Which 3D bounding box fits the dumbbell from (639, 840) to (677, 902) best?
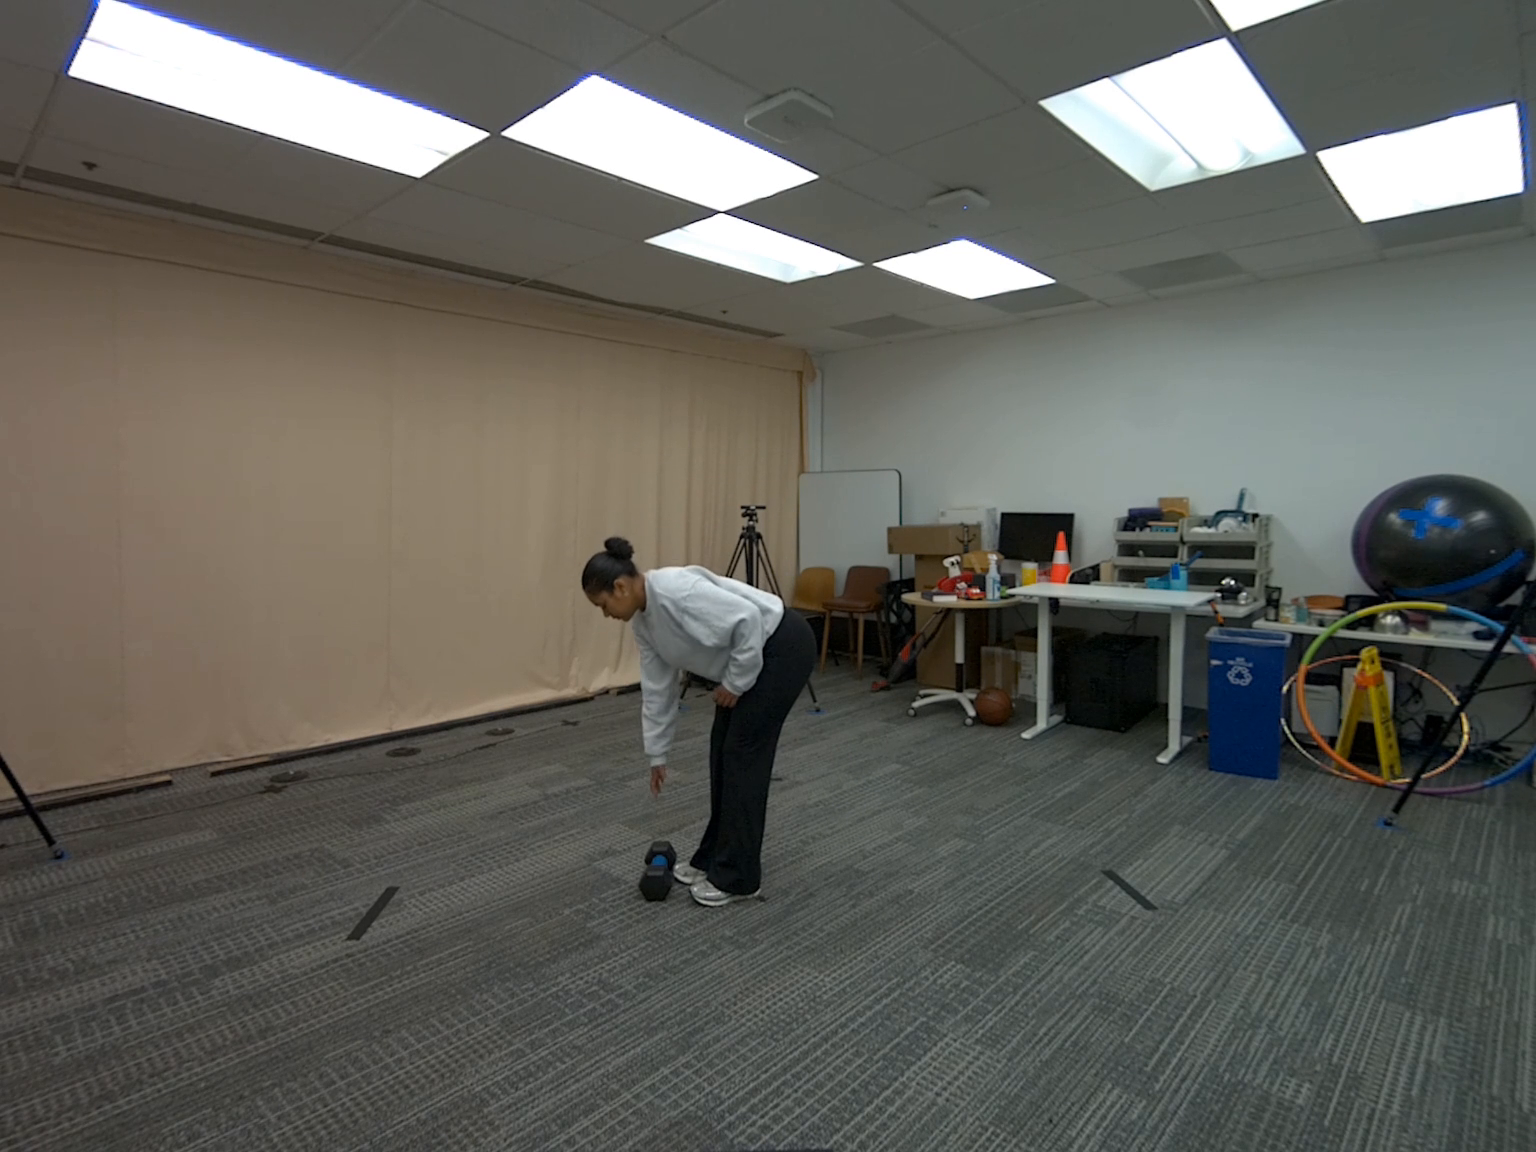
[{"bbox_3d":[-0.398,1.091,3.104,0.108,0.123,0.295,30,2,-5],"label":"dumbbell"}]
